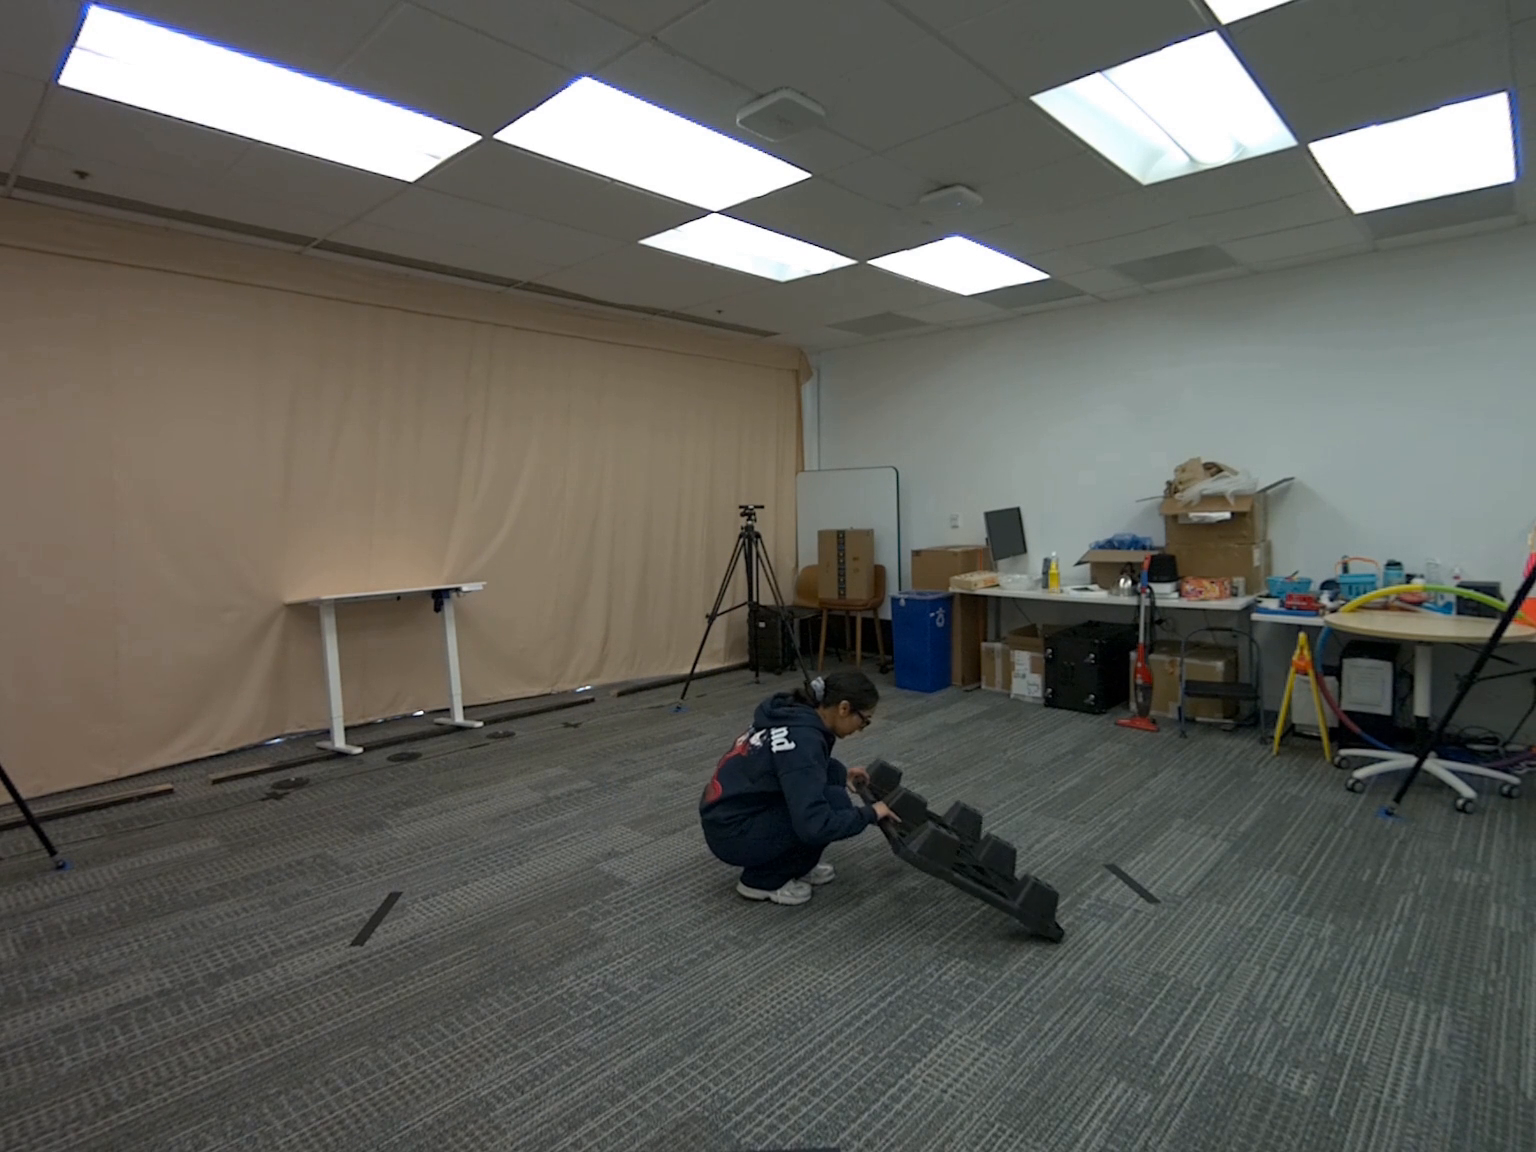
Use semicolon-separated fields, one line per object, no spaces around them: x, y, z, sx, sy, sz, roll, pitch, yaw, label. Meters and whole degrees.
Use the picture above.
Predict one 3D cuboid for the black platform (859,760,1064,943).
0.651;0.928;2.999;0.601;0.143;0.811;28;2;-6;black platform
